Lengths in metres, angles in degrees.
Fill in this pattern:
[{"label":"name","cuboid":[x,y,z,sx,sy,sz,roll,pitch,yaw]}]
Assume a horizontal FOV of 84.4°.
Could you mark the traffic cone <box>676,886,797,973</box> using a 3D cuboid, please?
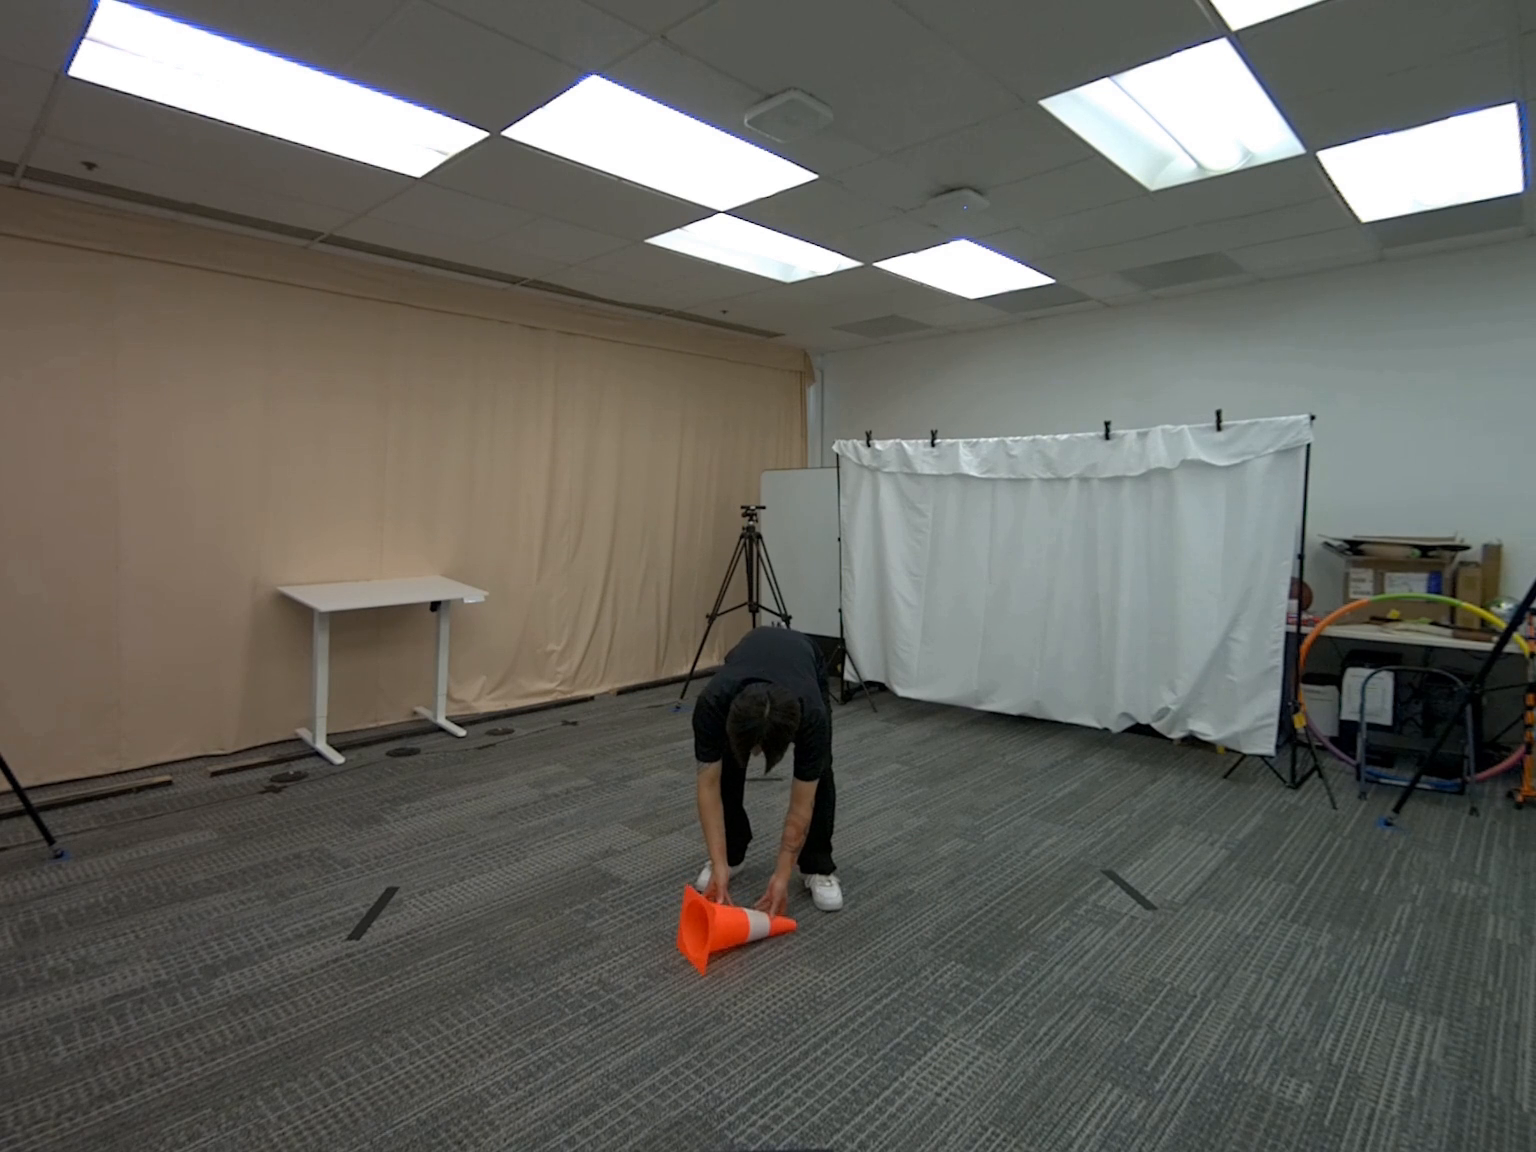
[{"label":"traffic cone","cuboid":[-0.068,1.104,2.679,0.372,0.204,0.211,11,-5,-30]}]
